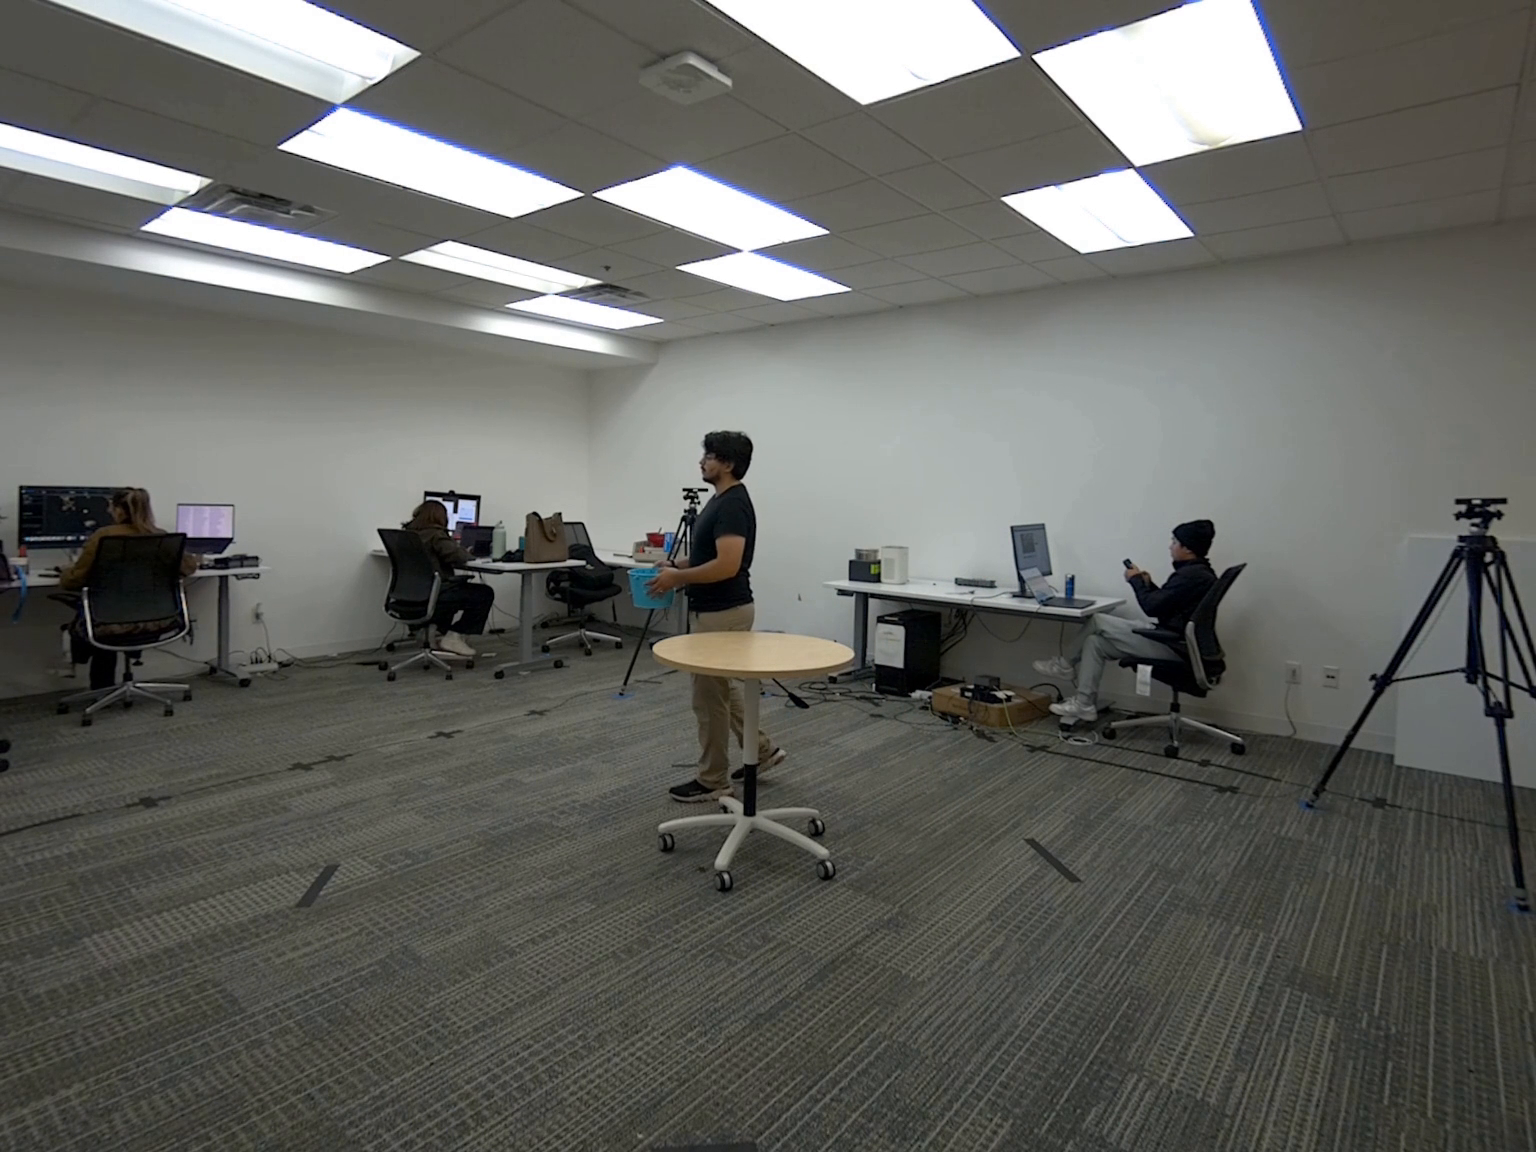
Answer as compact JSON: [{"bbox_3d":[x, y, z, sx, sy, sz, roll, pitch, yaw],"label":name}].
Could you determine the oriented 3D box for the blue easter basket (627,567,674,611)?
[{"bbox_3d":[-0.524,0.053,3.869,0.243,0.155,0.245,3,6,-2],"label":"blue easter basket"}]
